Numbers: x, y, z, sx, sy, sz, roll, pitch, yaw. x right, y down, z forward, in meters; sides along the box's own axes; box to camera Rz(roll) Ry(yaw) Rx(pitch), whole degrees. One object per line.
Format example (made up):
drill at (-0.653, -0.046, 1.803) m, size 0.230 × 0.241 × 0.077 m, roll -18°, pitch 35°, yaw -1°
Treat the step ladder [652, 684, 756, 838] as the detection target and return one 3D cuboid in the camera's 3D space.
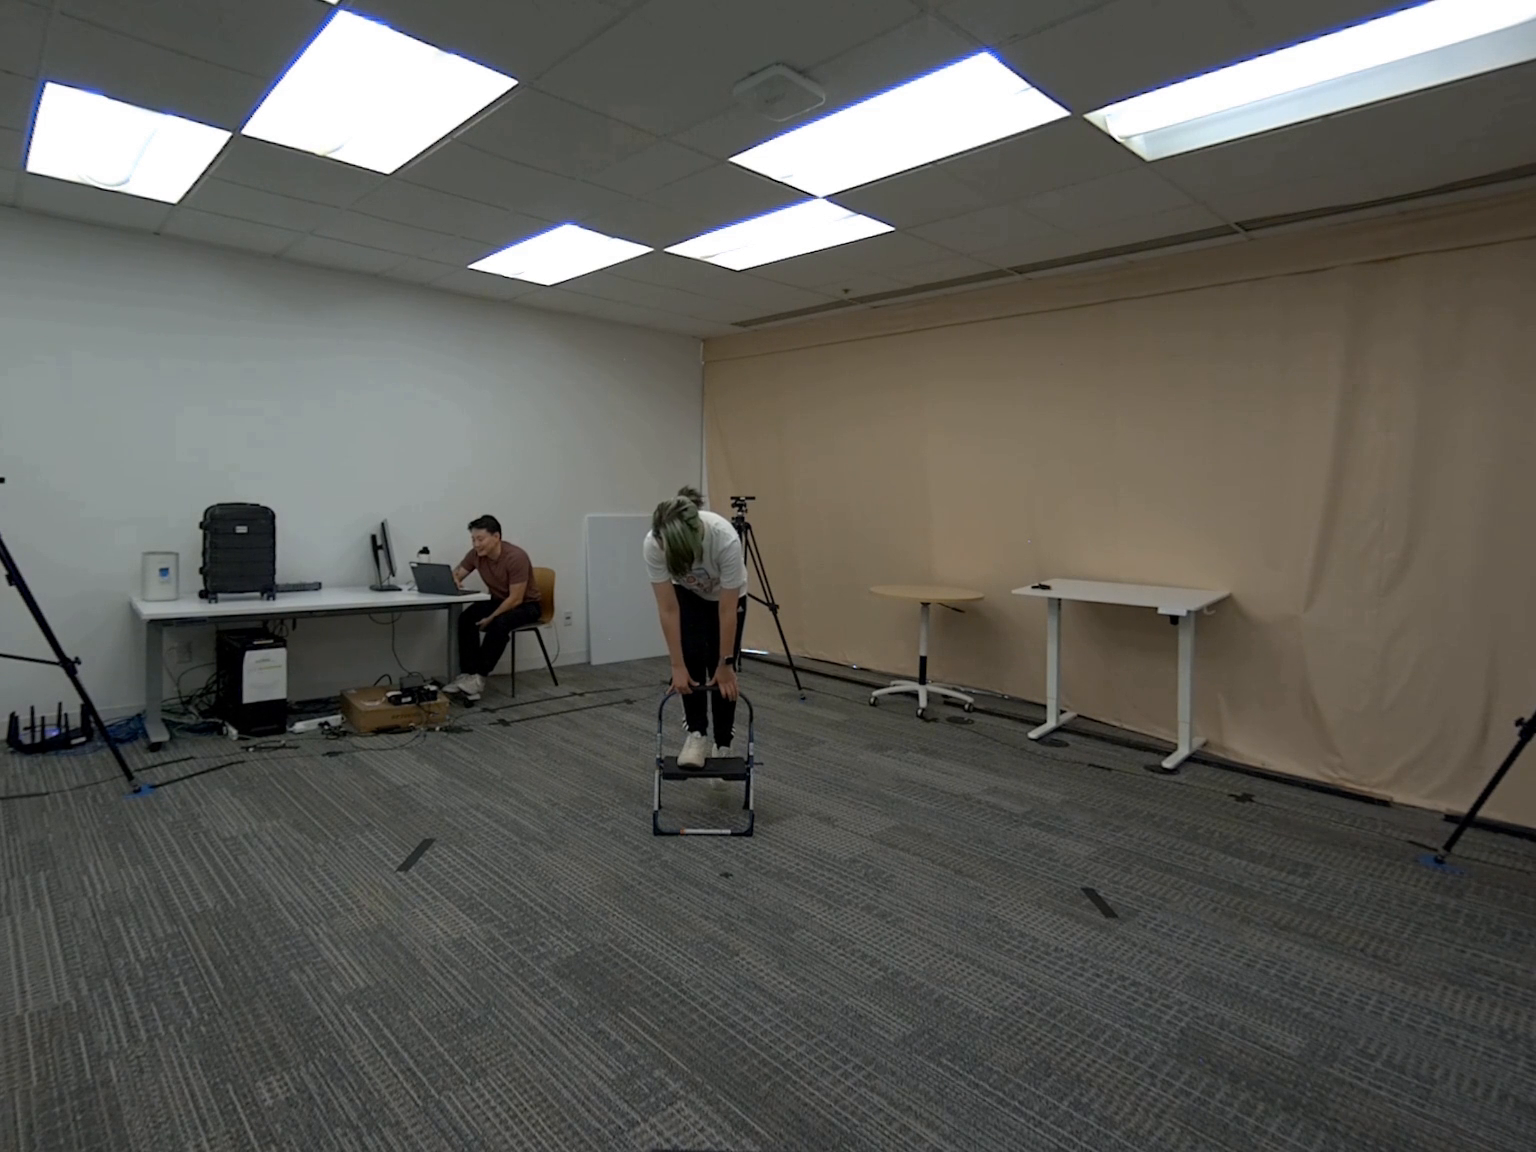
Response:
step ladder at (-0.280, 0.760, 3.614) m, size 0.429 × 0.605 × 0.351 m, roll 2°, pitch 3°, yaw -4°
